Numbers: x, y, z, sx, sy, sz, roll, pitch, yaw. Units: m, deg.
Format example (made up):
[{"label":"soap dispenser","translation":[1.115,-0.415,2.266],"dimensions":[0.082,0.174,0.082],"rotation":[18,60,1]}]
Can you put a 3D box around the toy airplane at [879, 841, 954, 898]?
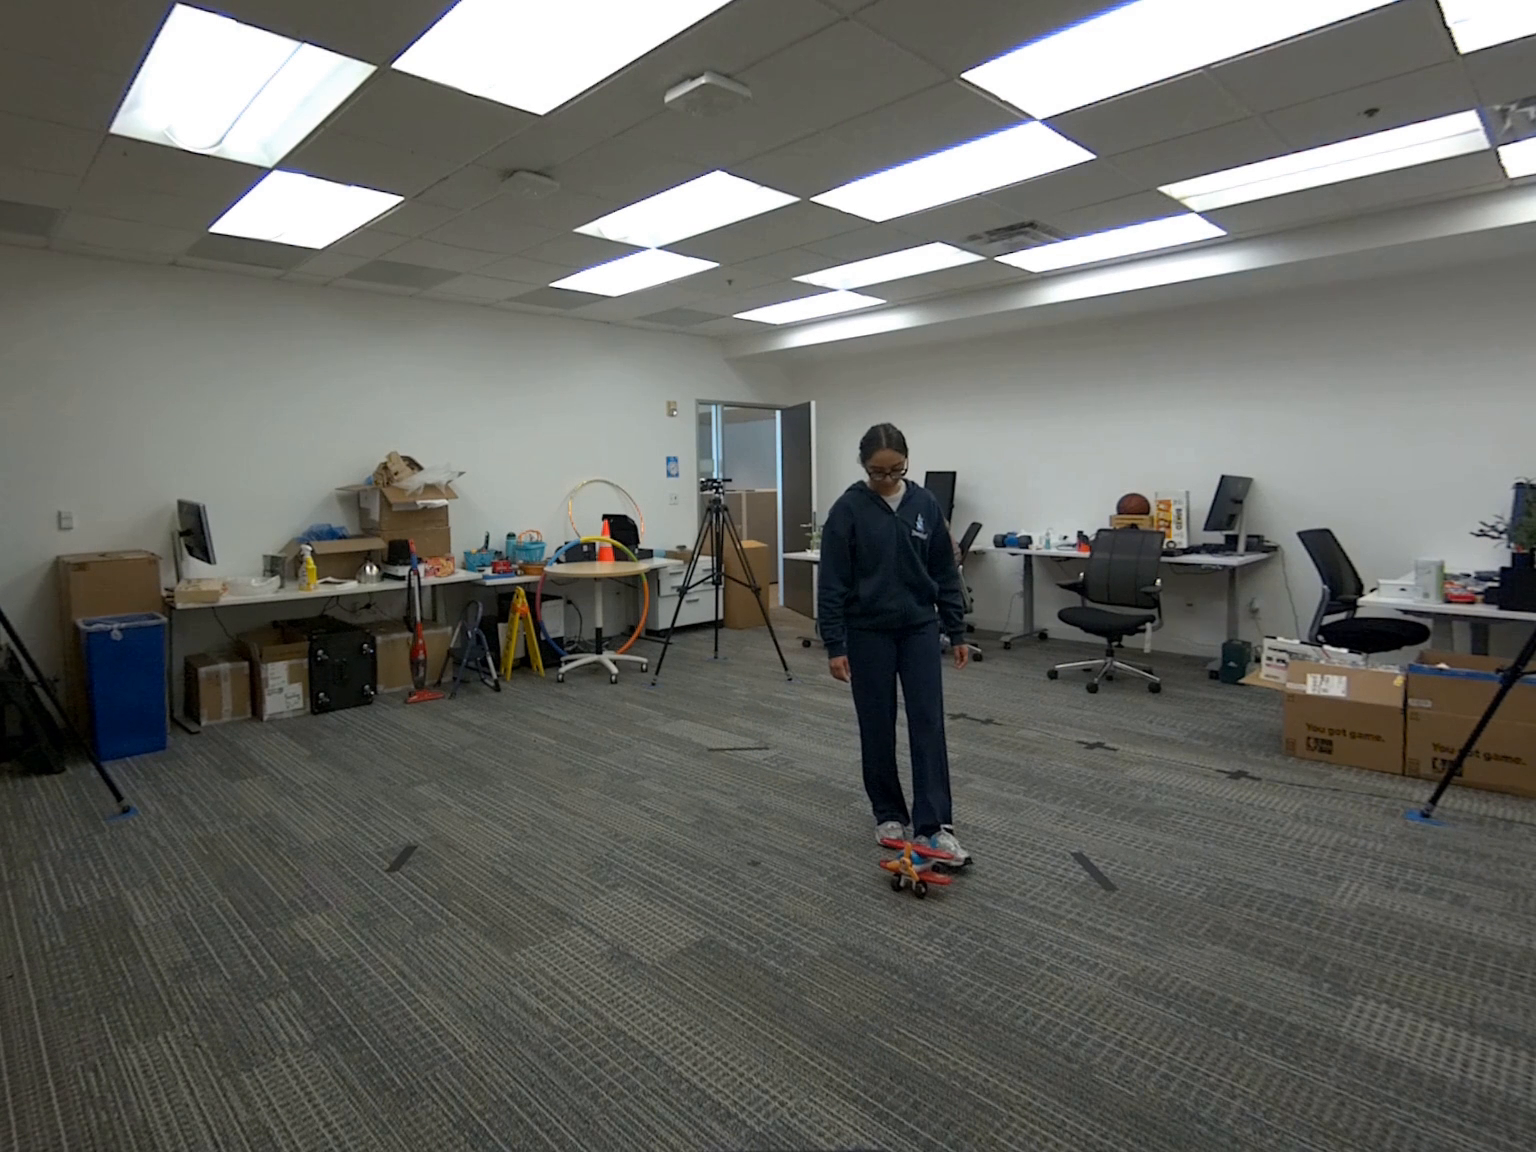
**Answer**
[{"label":"toy airplane","translation":[0.501,0.984,2.932],"dimensions":[0.252,0.155,0.259],"rotation":[1,7,5]}]
